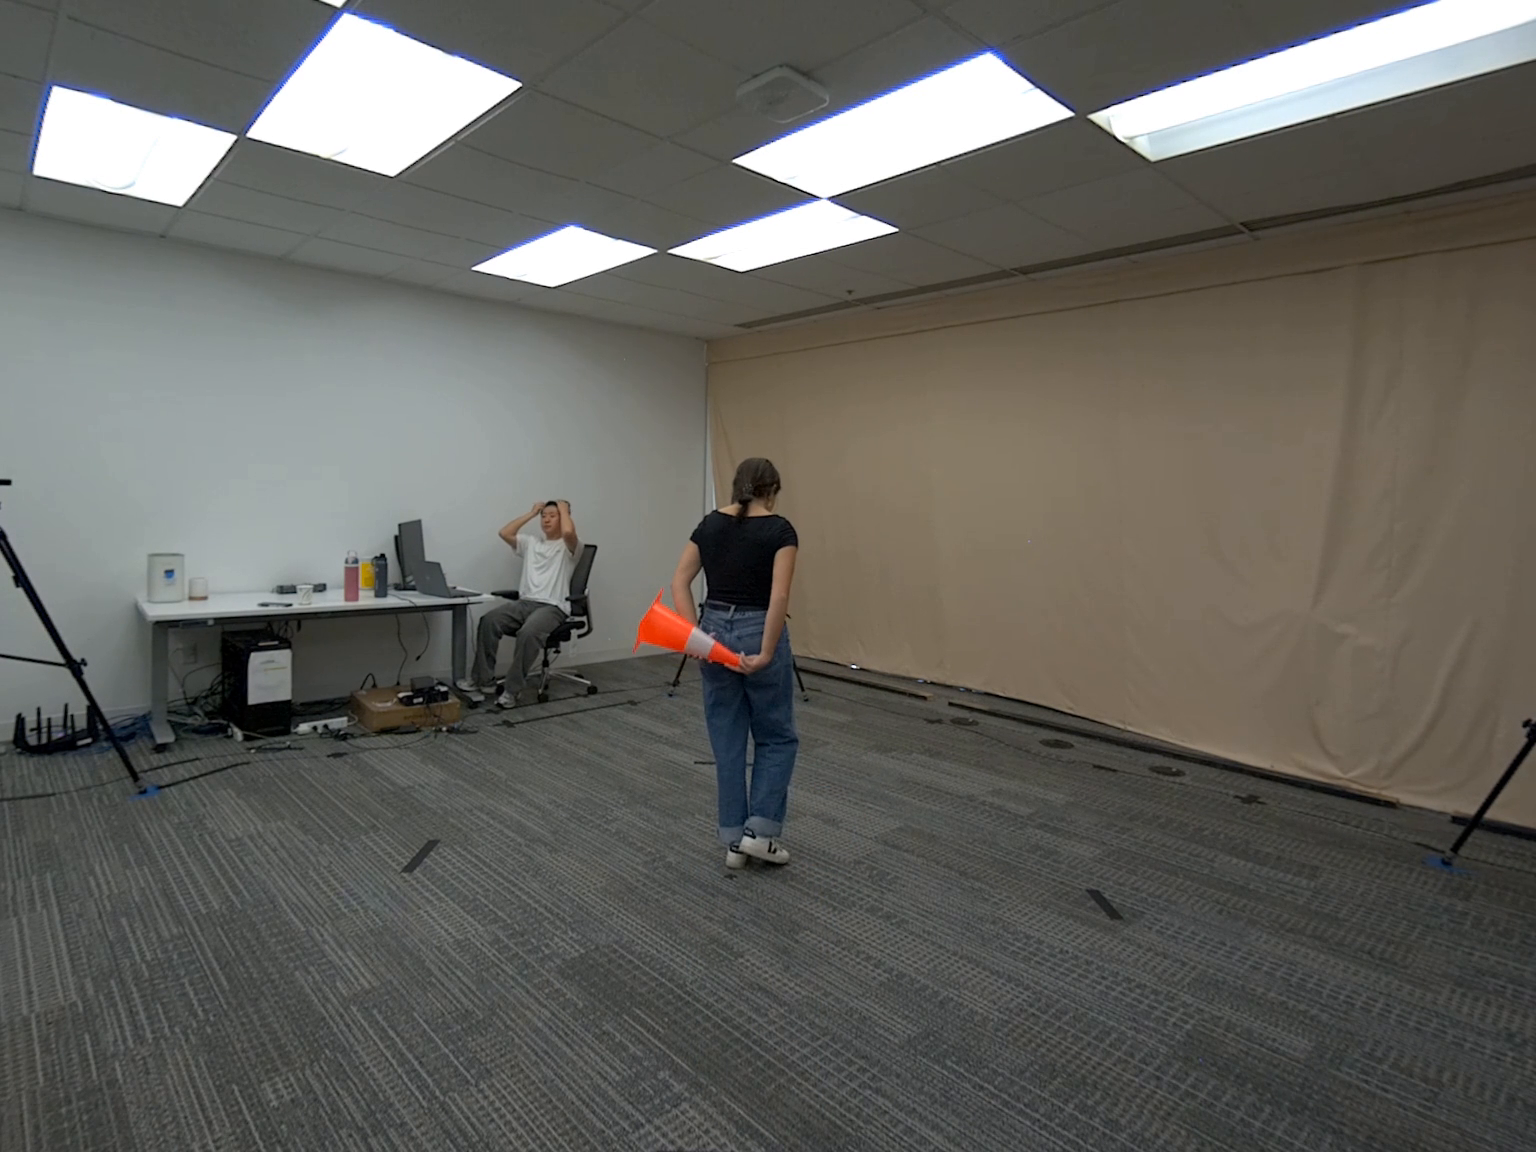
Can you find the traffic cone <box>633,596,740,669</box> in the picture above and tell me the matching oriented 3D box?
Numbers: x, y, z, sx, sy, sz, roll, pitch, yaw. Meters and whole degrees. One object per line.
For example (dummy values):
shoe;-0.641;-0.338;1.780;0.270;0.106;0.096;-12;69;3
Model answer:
traffic cone;-0.274;0.257;3.033;0.386;0.201;0.206;26;44;6
